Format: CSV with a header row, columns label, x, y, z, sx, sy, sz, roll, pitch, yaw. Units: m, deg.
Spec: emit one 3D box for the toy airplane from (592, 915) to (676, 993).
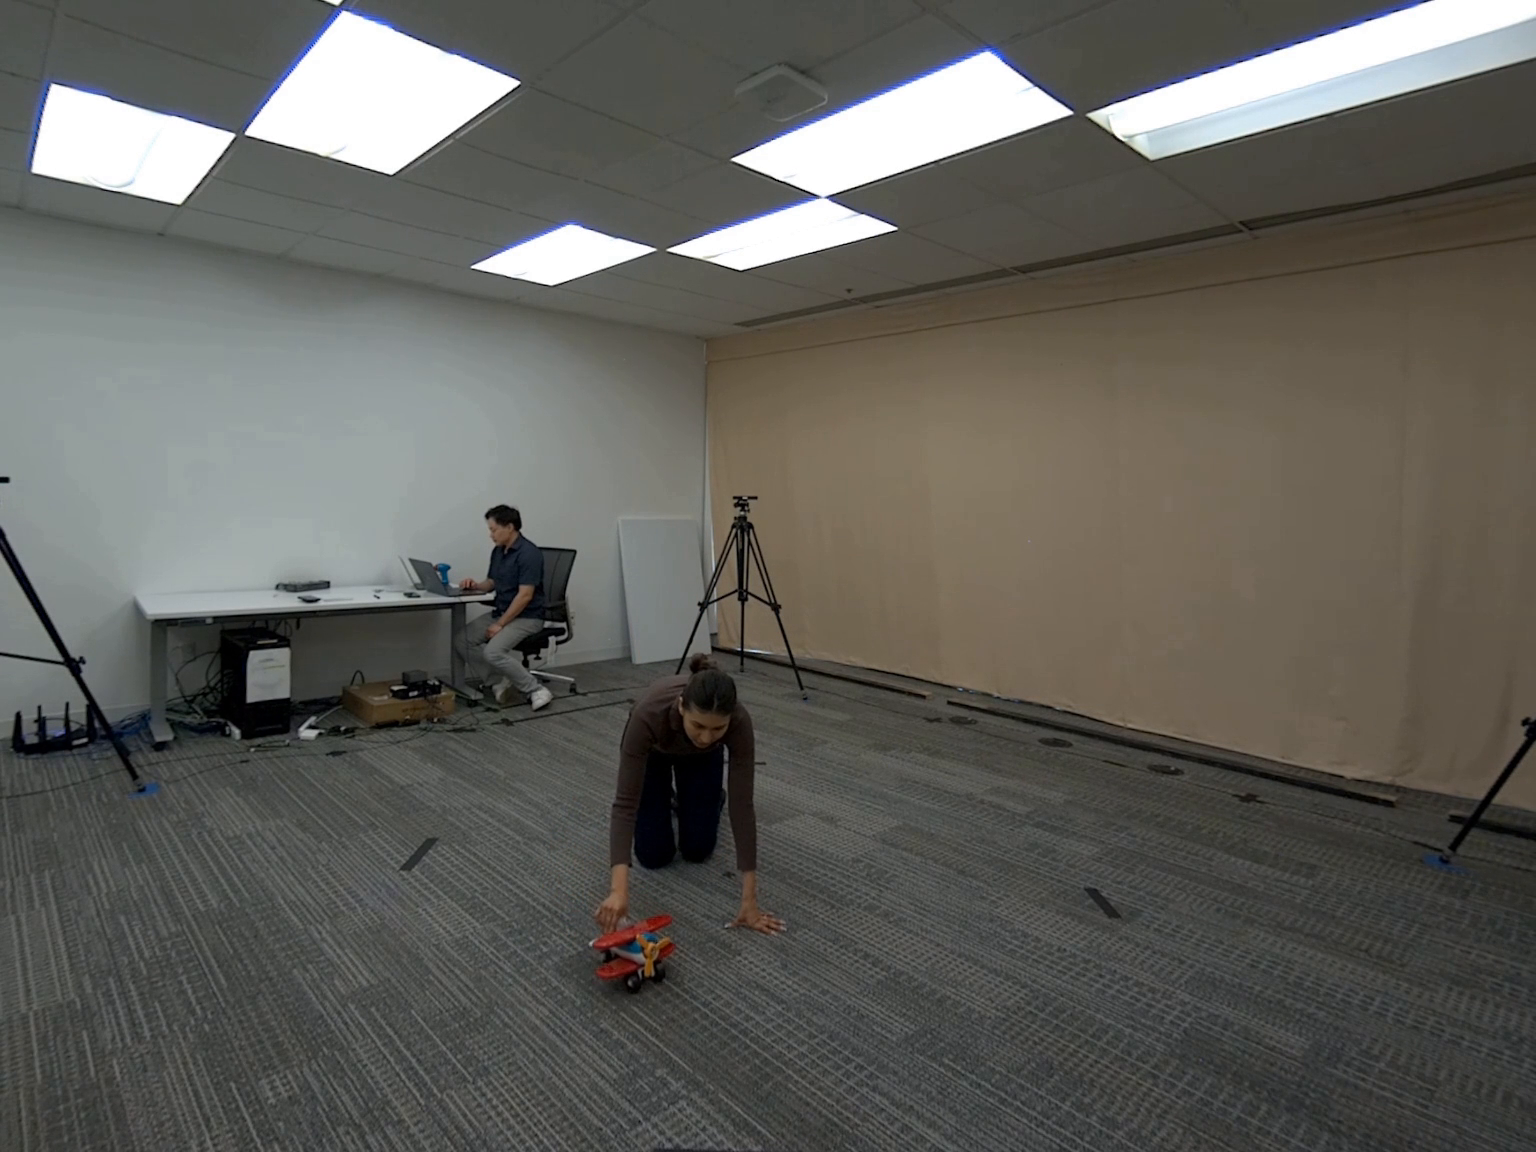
label,x,y,z,sx,sy,sz,roll,pitch,yaw
toy airplane,-0.426,1.090,2.432,0.263,0.156,0.248,4,6,20
